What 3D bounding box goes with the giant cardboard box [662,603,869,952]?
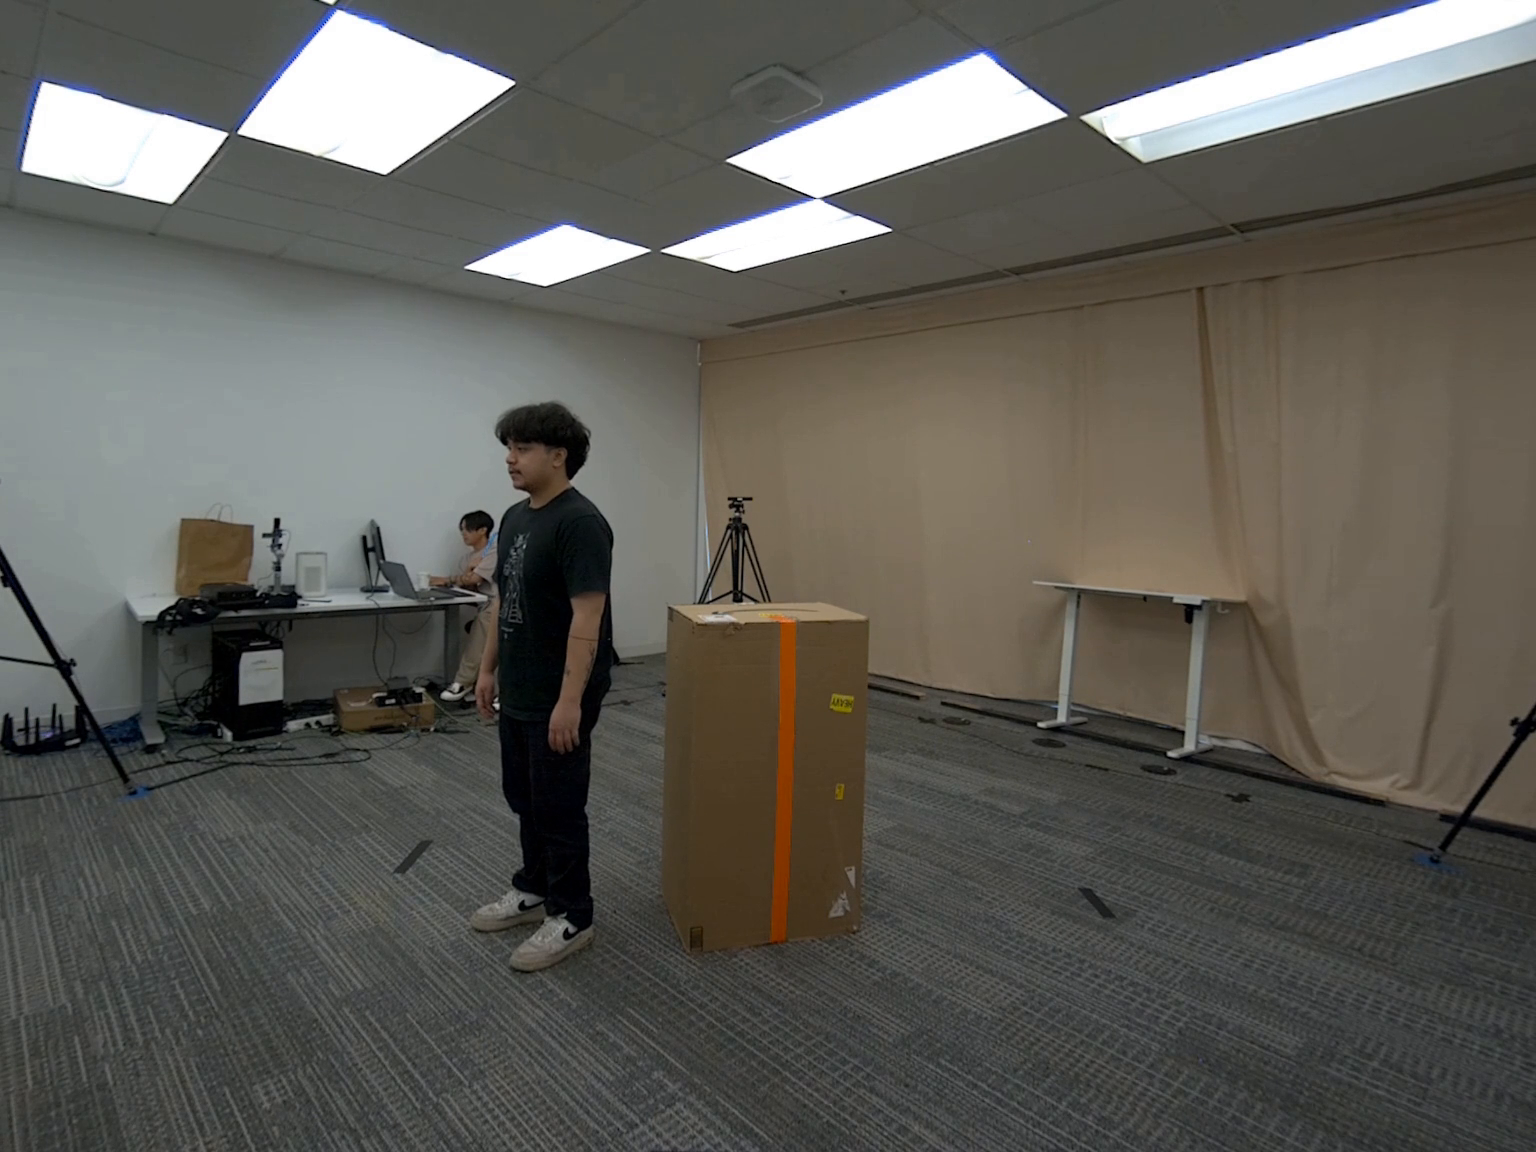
[{"bbox_3d":[-0.031,0.624,2.815,0.576,1.024,0.454,0,4,-17],"label":"giant cardboard box"}]
